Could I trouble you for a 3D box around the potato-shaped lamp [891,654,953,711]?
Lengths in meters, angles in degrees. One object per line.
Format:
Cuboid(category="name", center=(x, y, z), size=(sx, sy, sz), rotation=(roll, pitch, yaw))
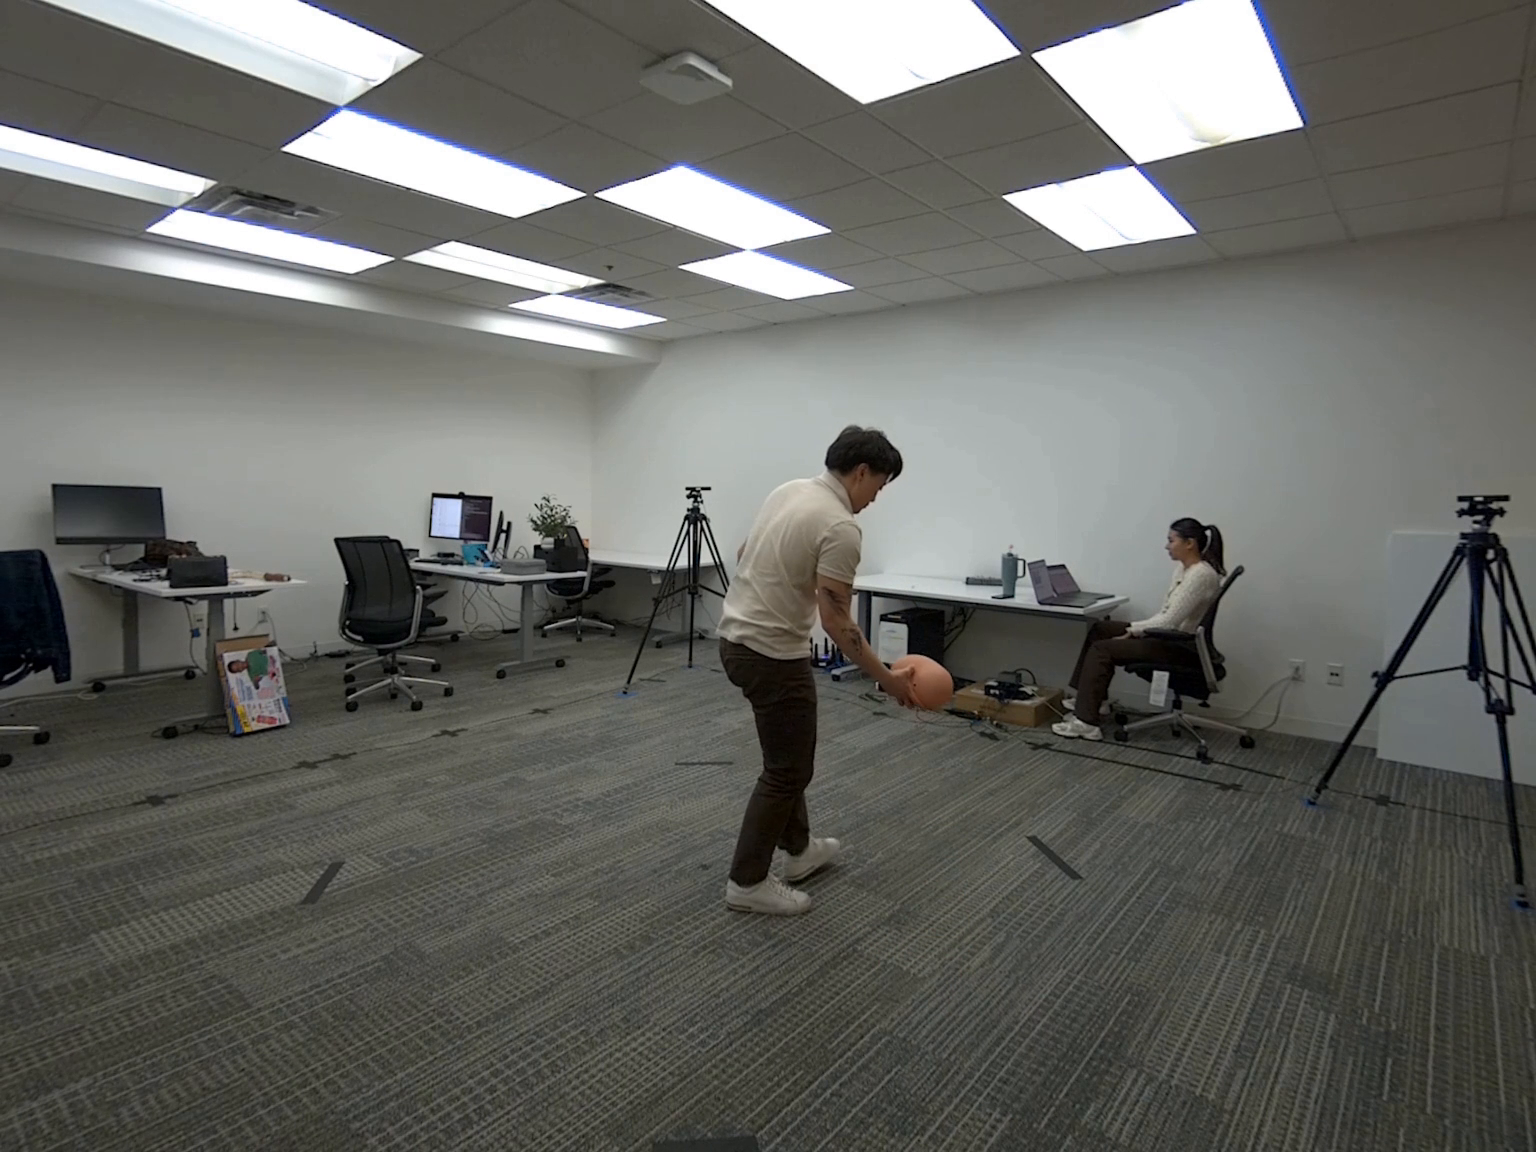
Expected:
Cuboid(category="potato-shaped lamp", center=(0.486, 0.344, 2.702), size=(0.168, 0.163, 0.204), rotation=(-7, 13, -19))
